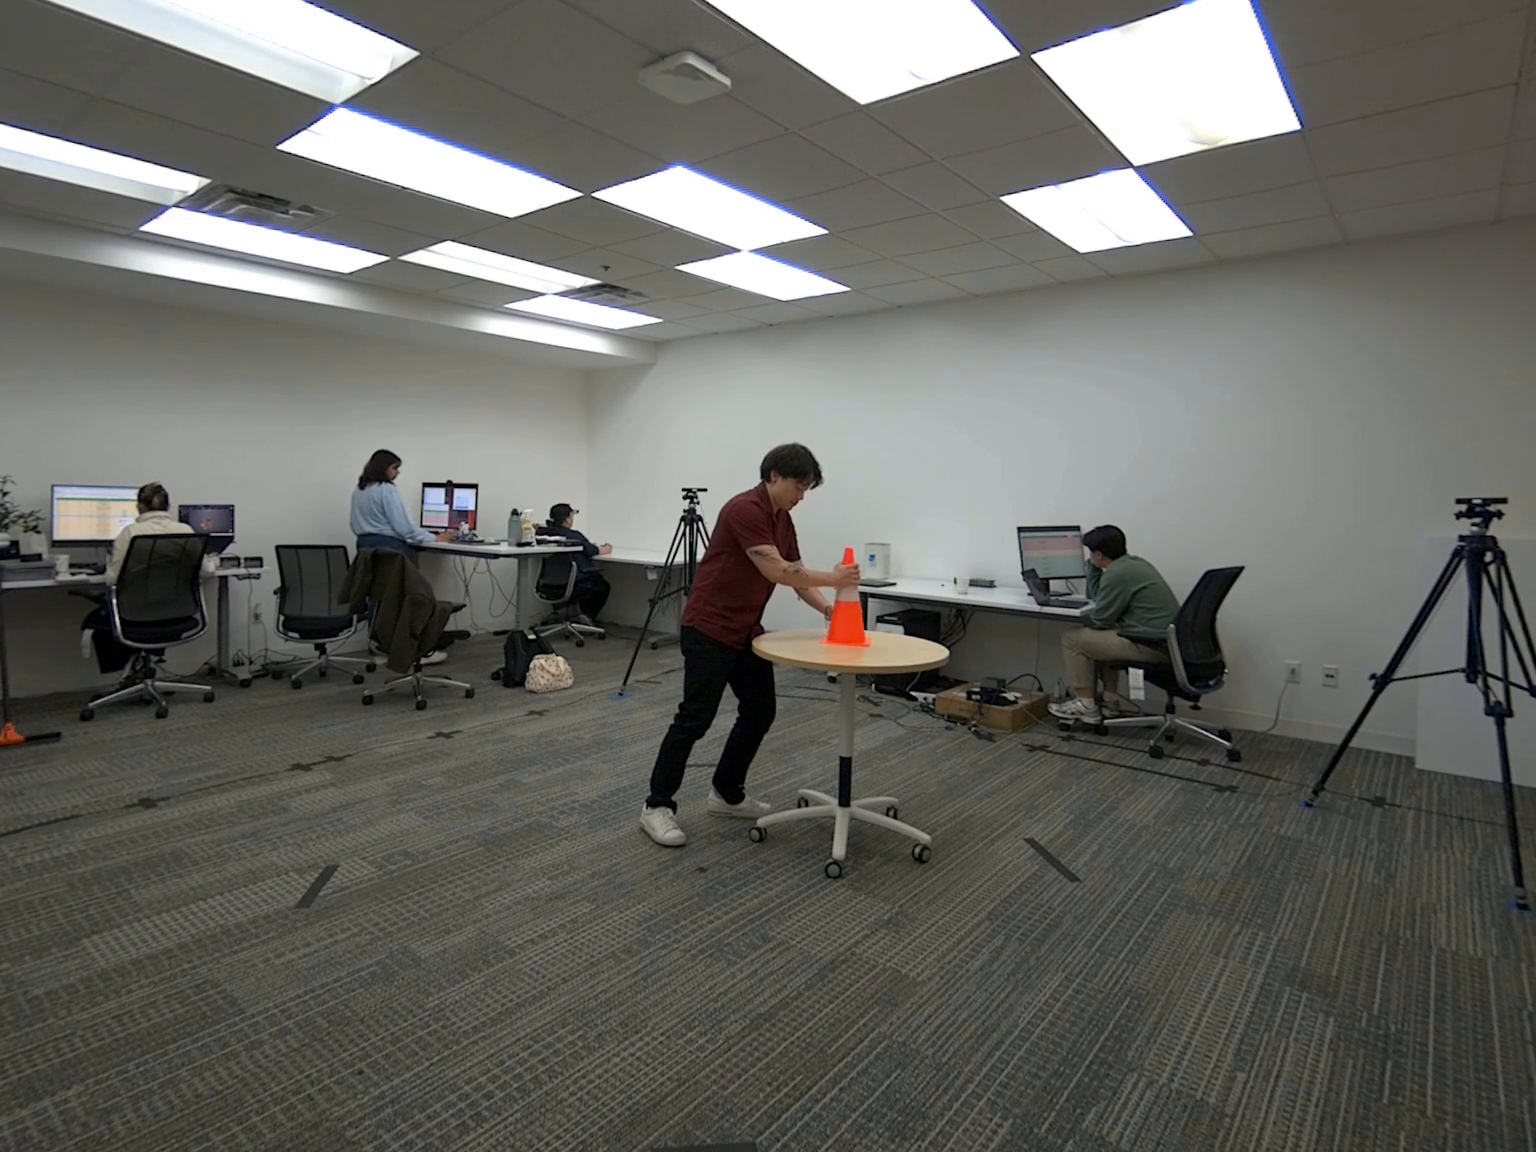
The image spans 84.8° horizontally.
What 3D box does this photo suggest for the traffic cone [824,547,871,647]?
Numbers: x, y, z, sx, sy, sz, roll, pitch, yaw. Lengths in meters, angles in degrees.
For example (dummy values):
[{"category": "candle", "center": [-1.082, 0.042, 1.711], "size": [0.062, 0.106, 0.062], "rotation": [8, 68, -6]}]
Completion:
[{"category": "traffic cone", "center": [0.321, 0.070, 3.458], "size": [0.206, 0.382, 0.203], "rotation": [2, 5, 4]}]
